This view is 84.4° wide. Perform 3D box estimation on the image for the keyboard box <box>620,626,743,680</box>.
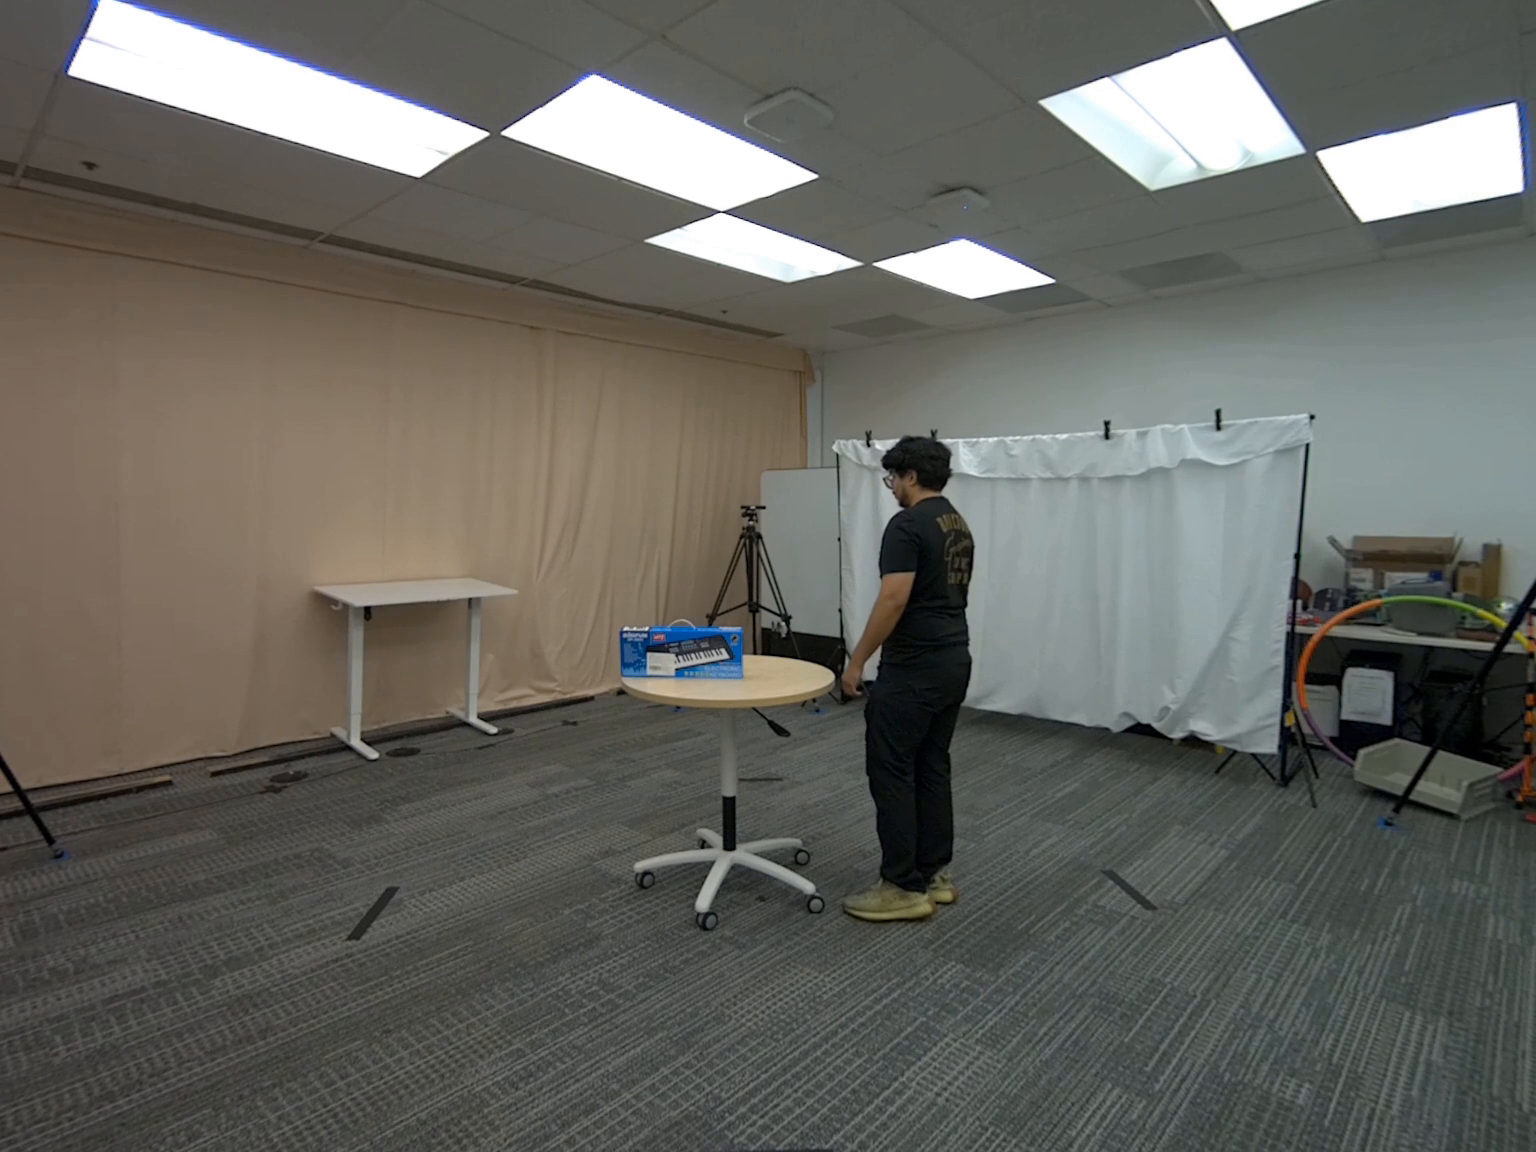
[{"bbox_3d":[-0.307,0.281,3.027,0.439,0.175,0.059,0,4,5],"label":"keyboard box"}]
